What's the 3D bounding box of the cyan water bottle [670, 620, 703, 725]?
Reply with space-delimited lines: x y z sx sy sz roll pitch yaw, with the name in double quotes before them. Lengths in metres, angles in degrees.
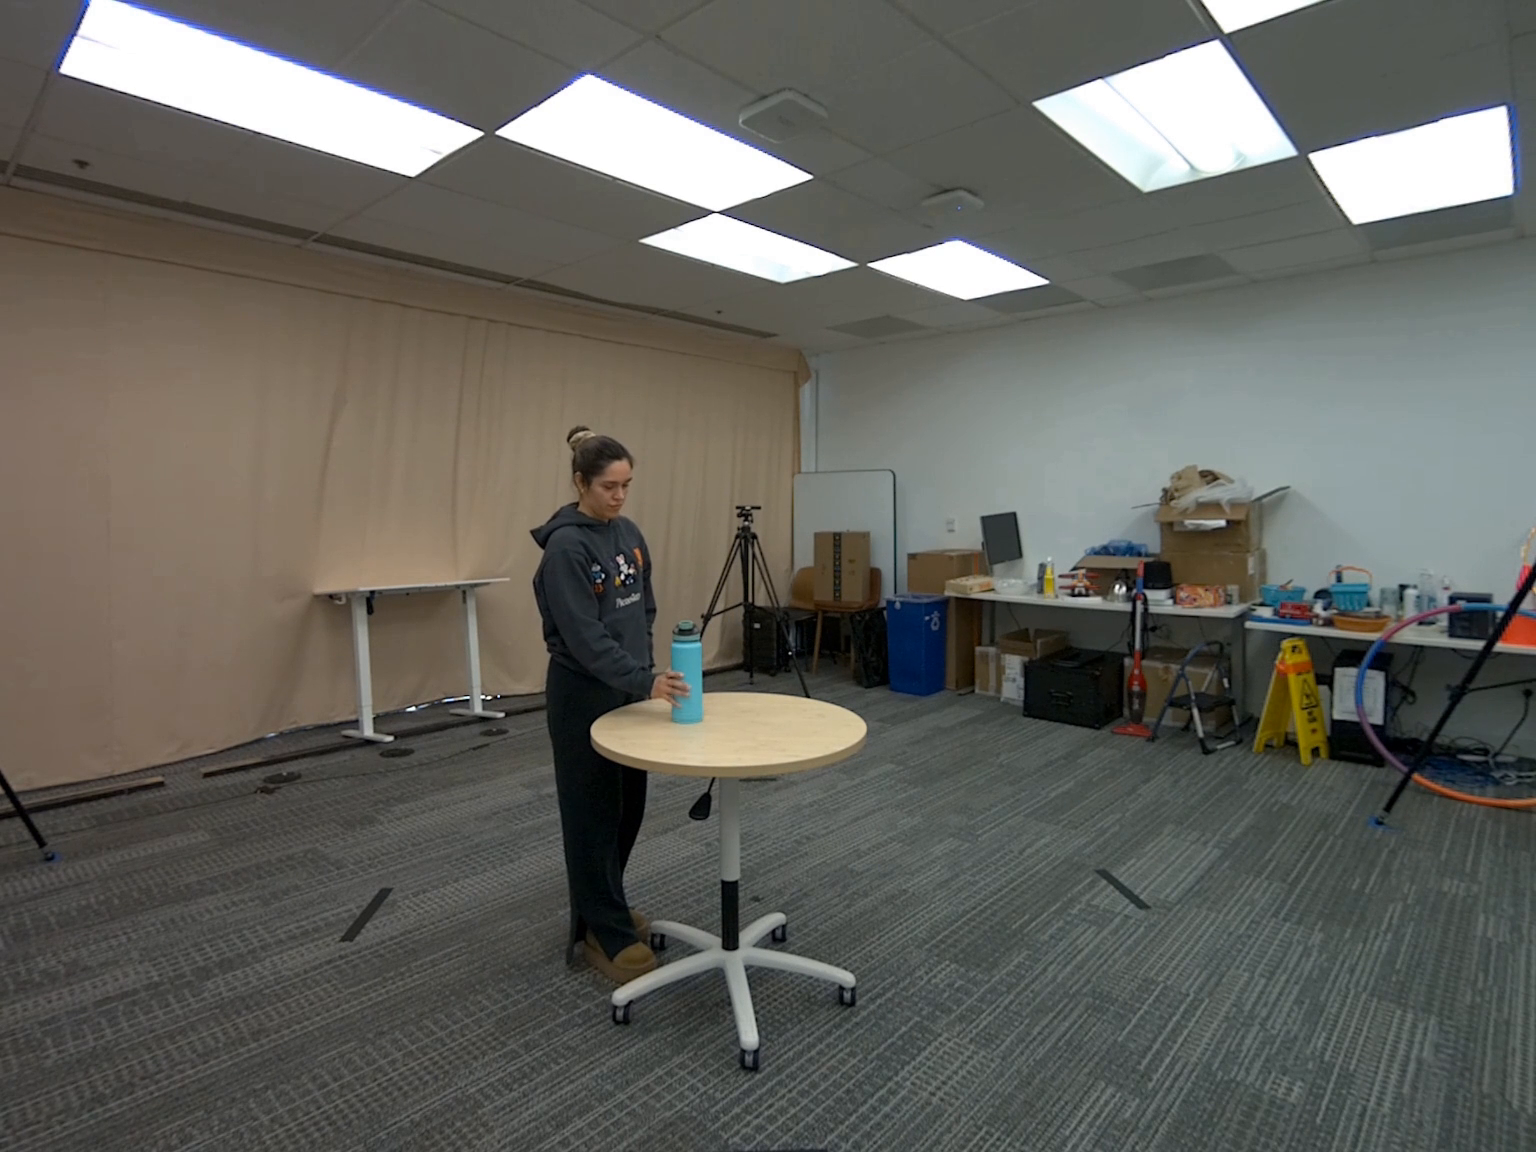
"cyan water bottle" -0.223 0.275 2.392 0.092 0.283 0.092 -2 3 -2
